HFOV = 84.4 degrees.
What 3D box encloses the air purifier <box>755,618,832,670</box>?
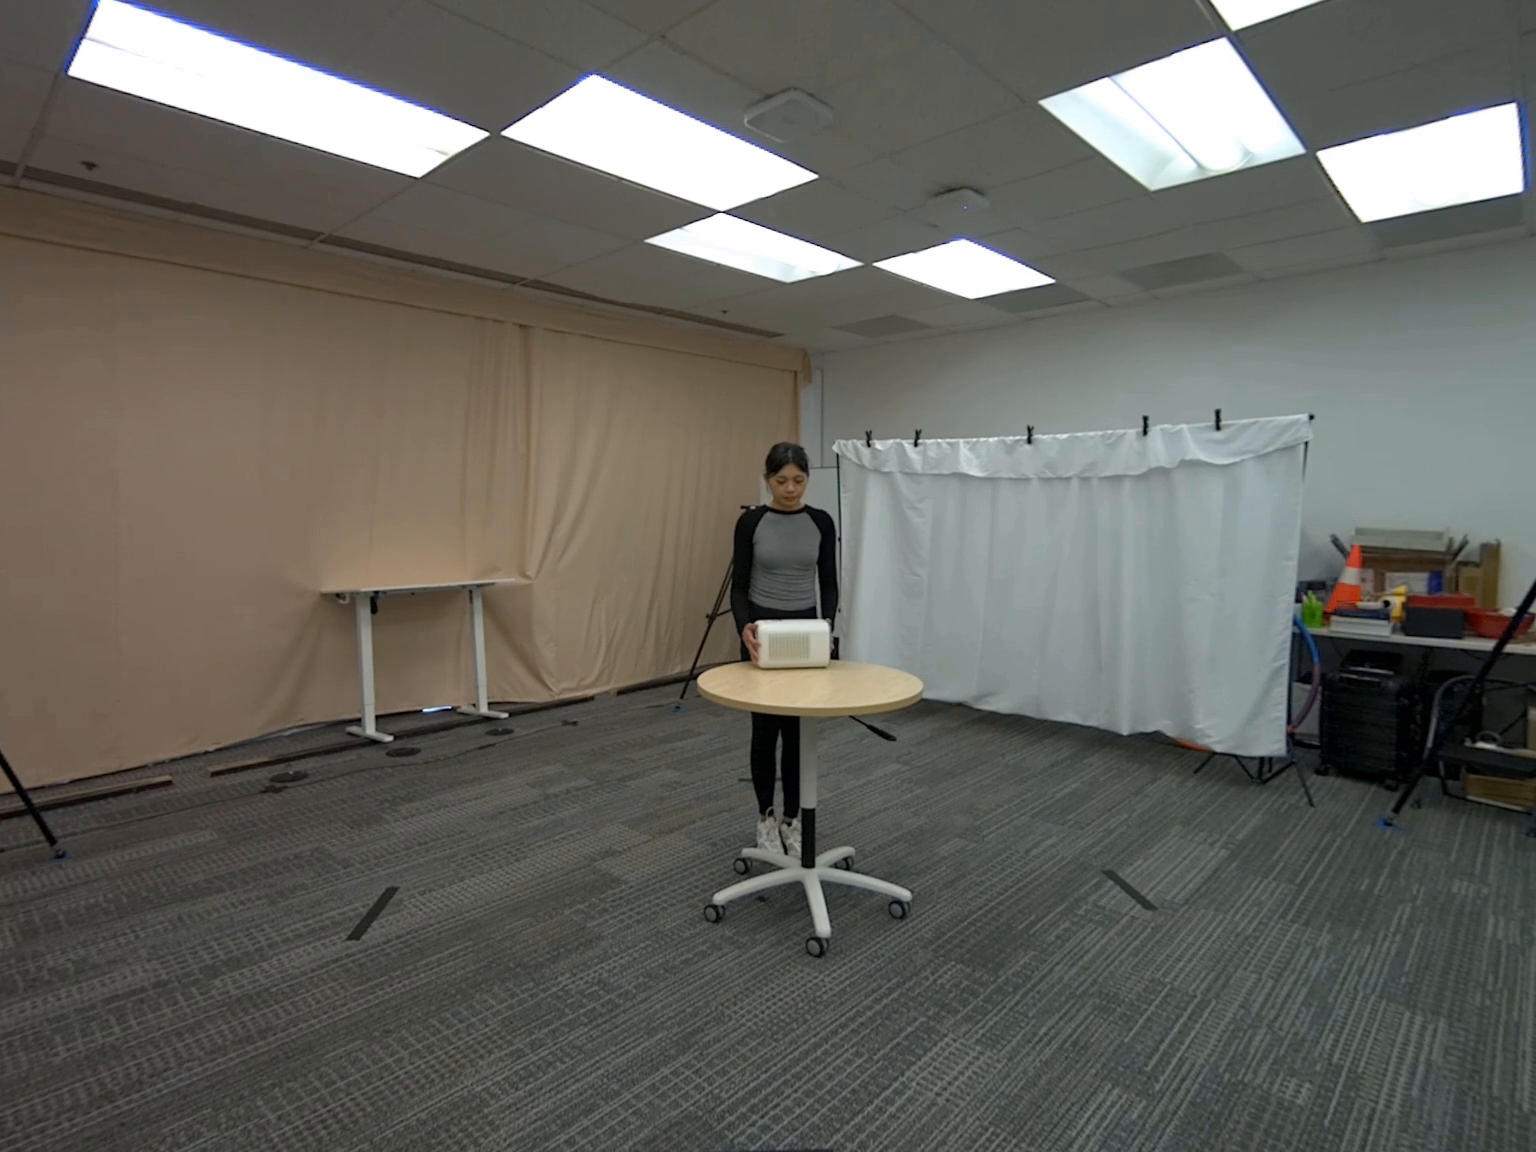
[{"bbox_3d":[0.094,0.250,3.125,0.263,0.171,0.173,-1,5,-8],"label":"air purifier"}]
